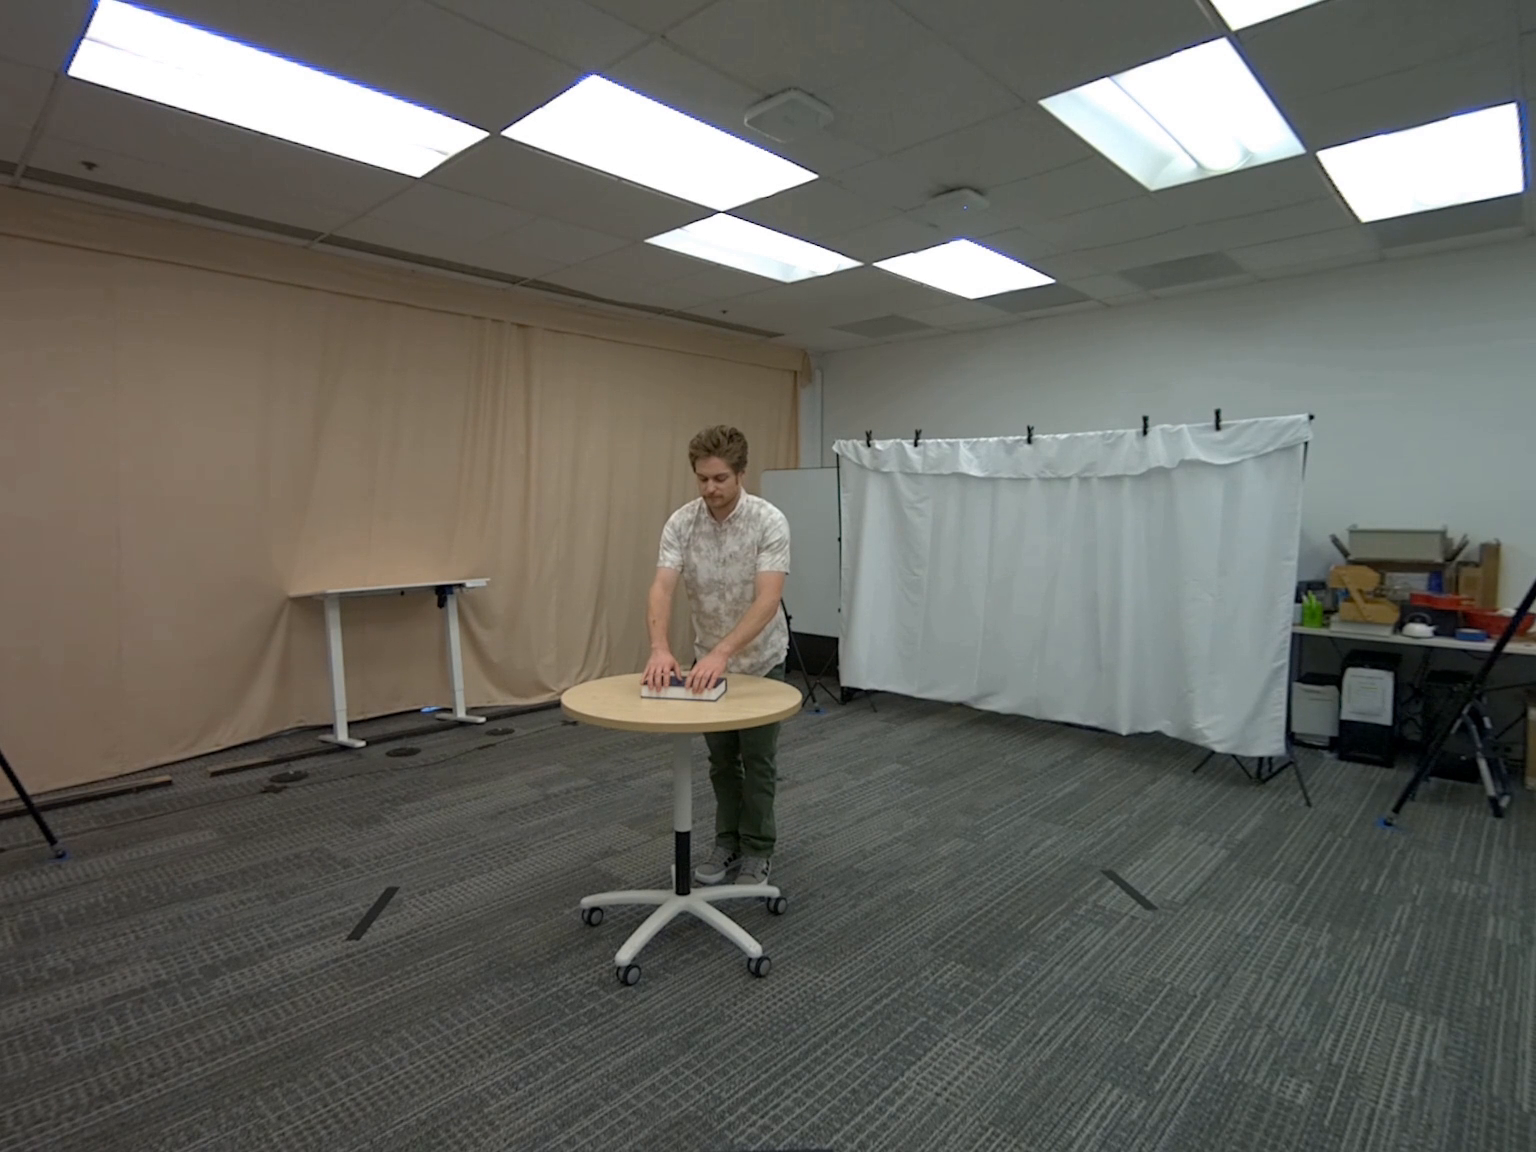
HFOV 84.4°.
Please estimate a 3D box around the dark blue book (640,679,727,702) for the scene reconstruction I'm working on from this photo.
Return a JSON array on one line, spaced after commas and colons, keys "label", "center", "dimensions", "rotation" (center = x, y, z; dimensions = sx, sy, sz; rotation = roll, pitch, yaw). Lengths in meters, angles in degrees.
[{"label": "dark blue book", "center": [-0.274, 0.357, 2.689], "dimensions": [0.248, 0.045, 0.162], "rotation": [1, 4, 11]}]
